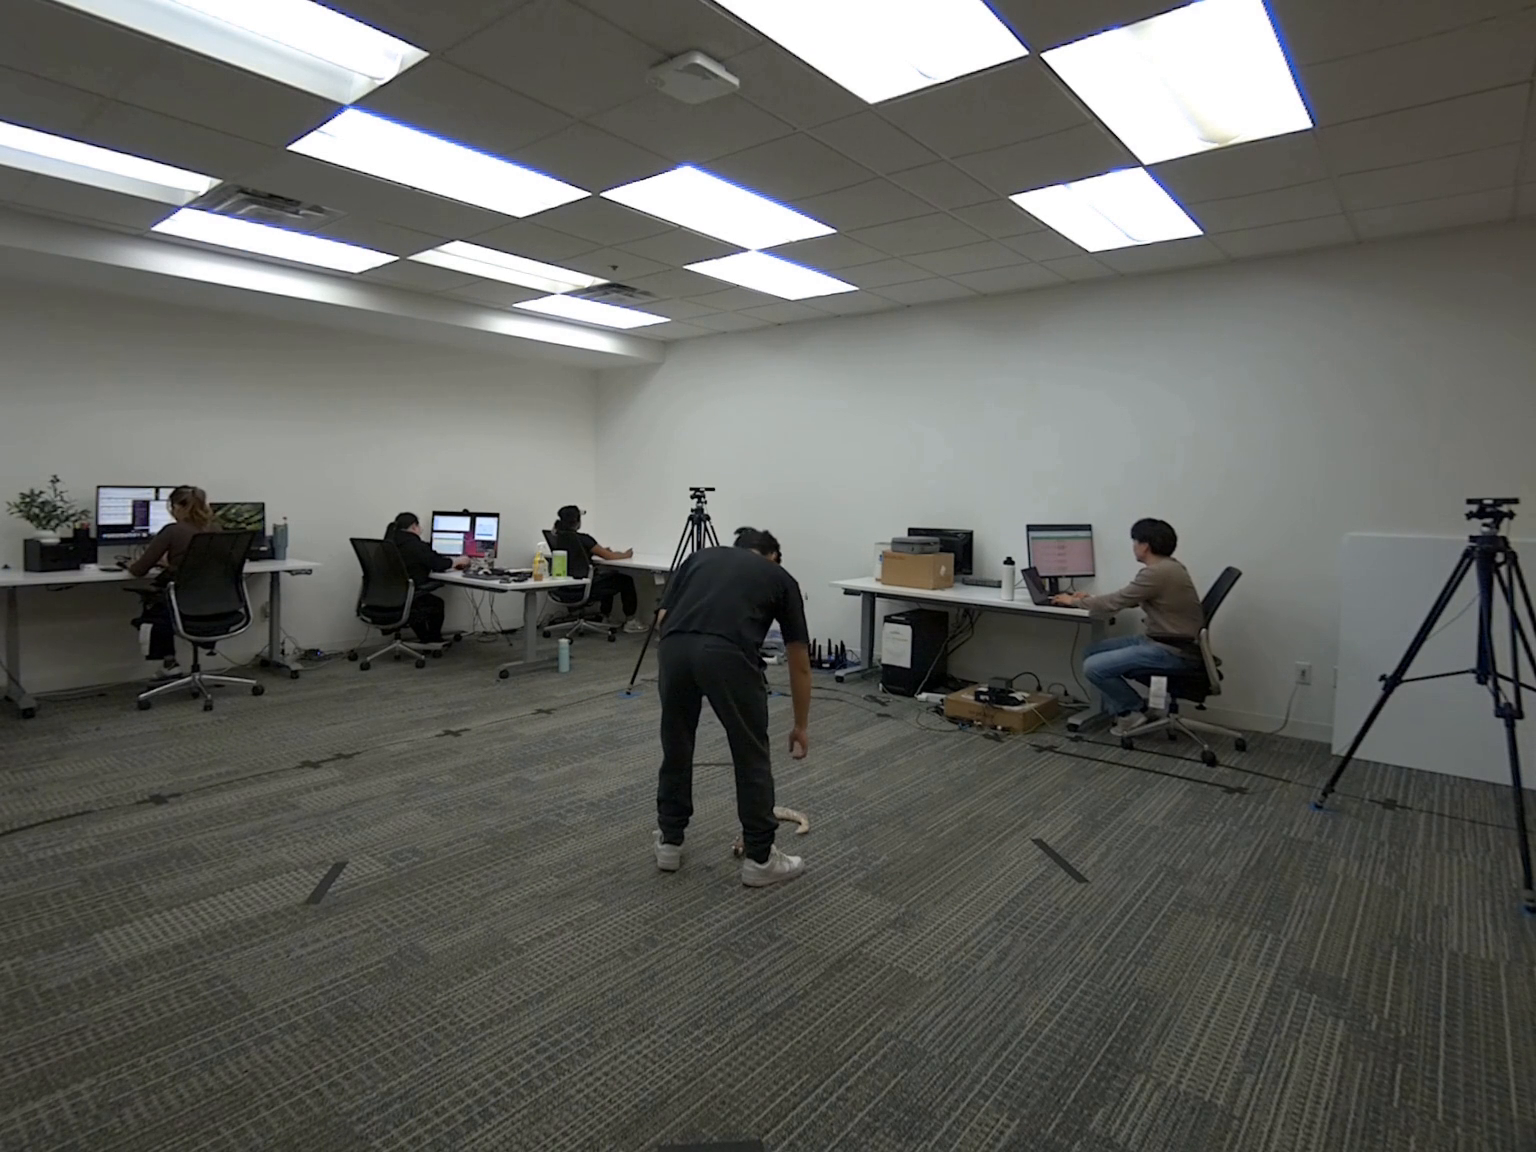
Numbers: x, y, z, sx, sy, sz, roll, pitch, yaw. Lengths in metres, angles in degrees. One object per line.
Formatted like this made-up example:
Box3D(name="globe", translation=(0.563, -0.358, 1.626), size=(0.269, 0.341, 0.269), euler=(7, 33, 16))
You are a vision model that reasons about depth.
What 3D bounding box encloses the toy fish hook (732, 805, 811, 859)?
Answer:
Box3D(name="toy fish hook", translation=(0.009, 1.019, 3.399), size=(0.230, 0.048, 0.496), euler=(2, 6, 22))
